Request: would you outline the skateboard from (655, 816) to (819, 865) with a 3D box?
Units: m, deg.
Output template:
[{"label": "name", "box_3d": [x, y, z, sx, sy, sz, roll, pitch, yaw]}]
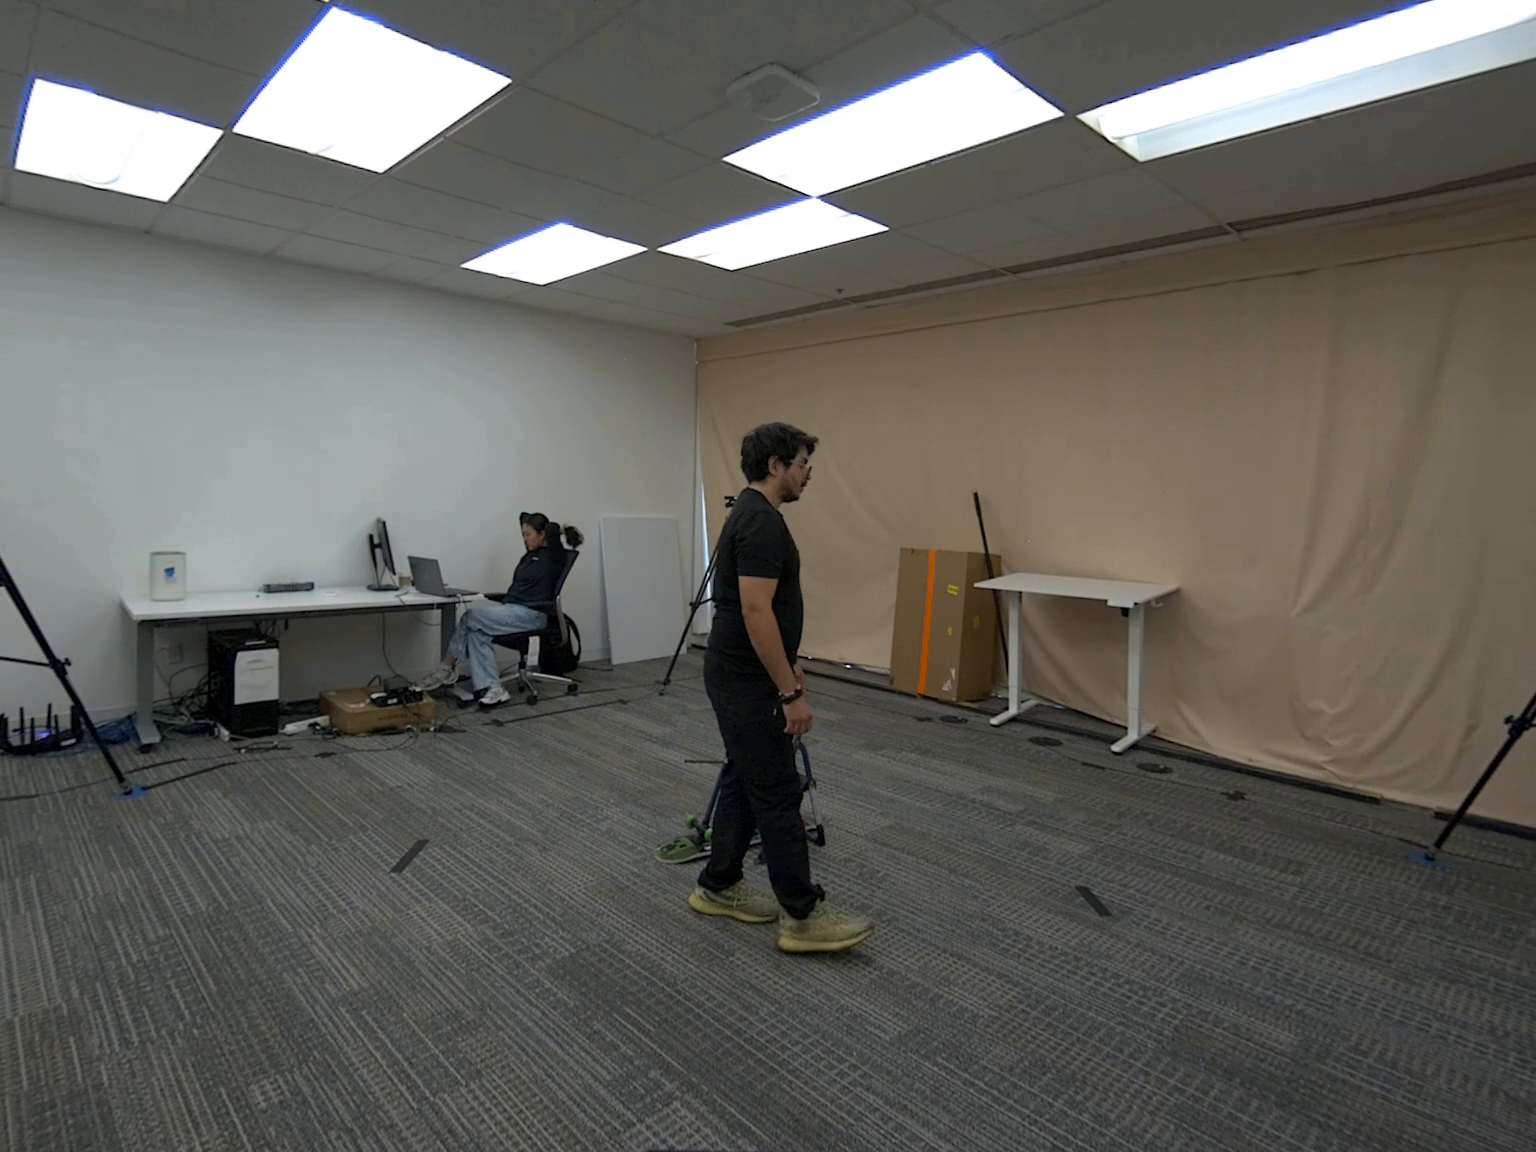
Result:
[{"label": "skateboard", "box_3d": [-0.115, 1.025, 3.436, 0.769, 0.110, 0.198, -3, 7, -35]}]
